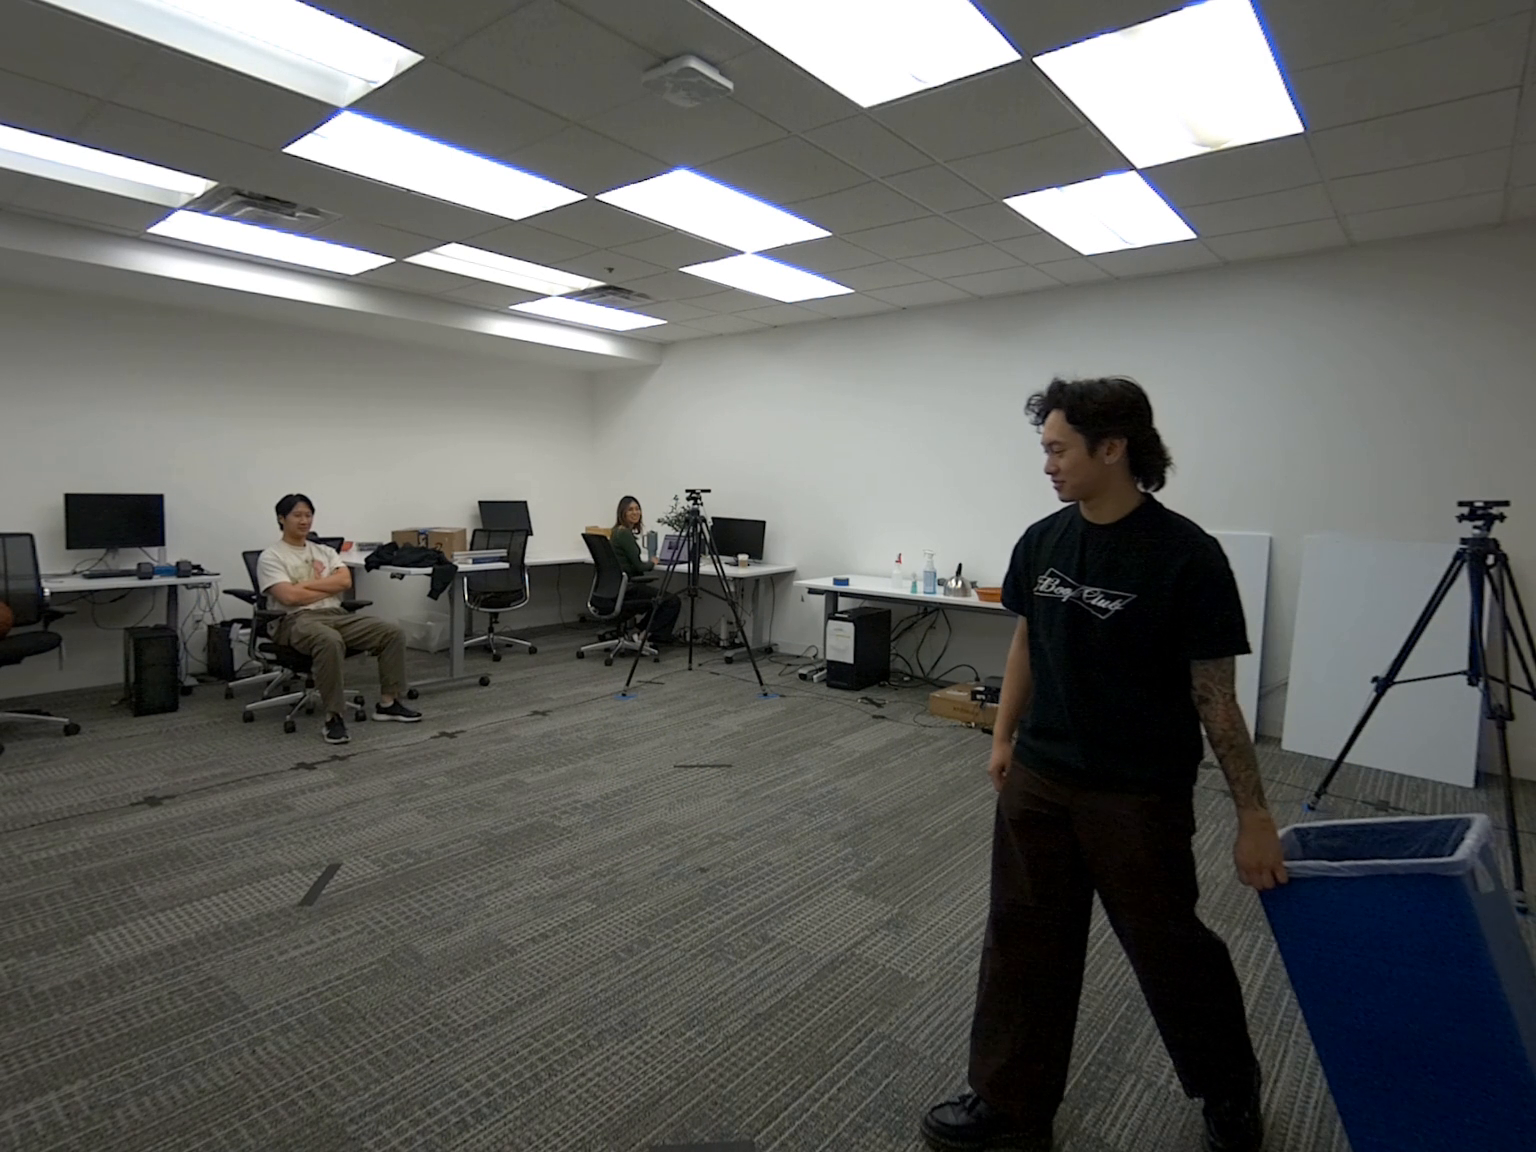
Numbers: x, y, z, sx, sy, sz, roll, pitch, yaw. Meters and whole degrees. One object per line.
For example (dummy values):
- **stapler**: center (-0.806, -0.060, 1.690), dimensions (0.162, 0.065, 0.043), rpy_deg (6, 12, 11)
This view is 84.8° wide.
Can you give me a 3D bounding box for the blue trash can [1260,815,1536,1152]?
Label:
- **blue trash can**: center (1.245, 0.867, 1.620), dimensions (0.366, 0.724, 0.381), rpy_deg (1, -17, -46)
